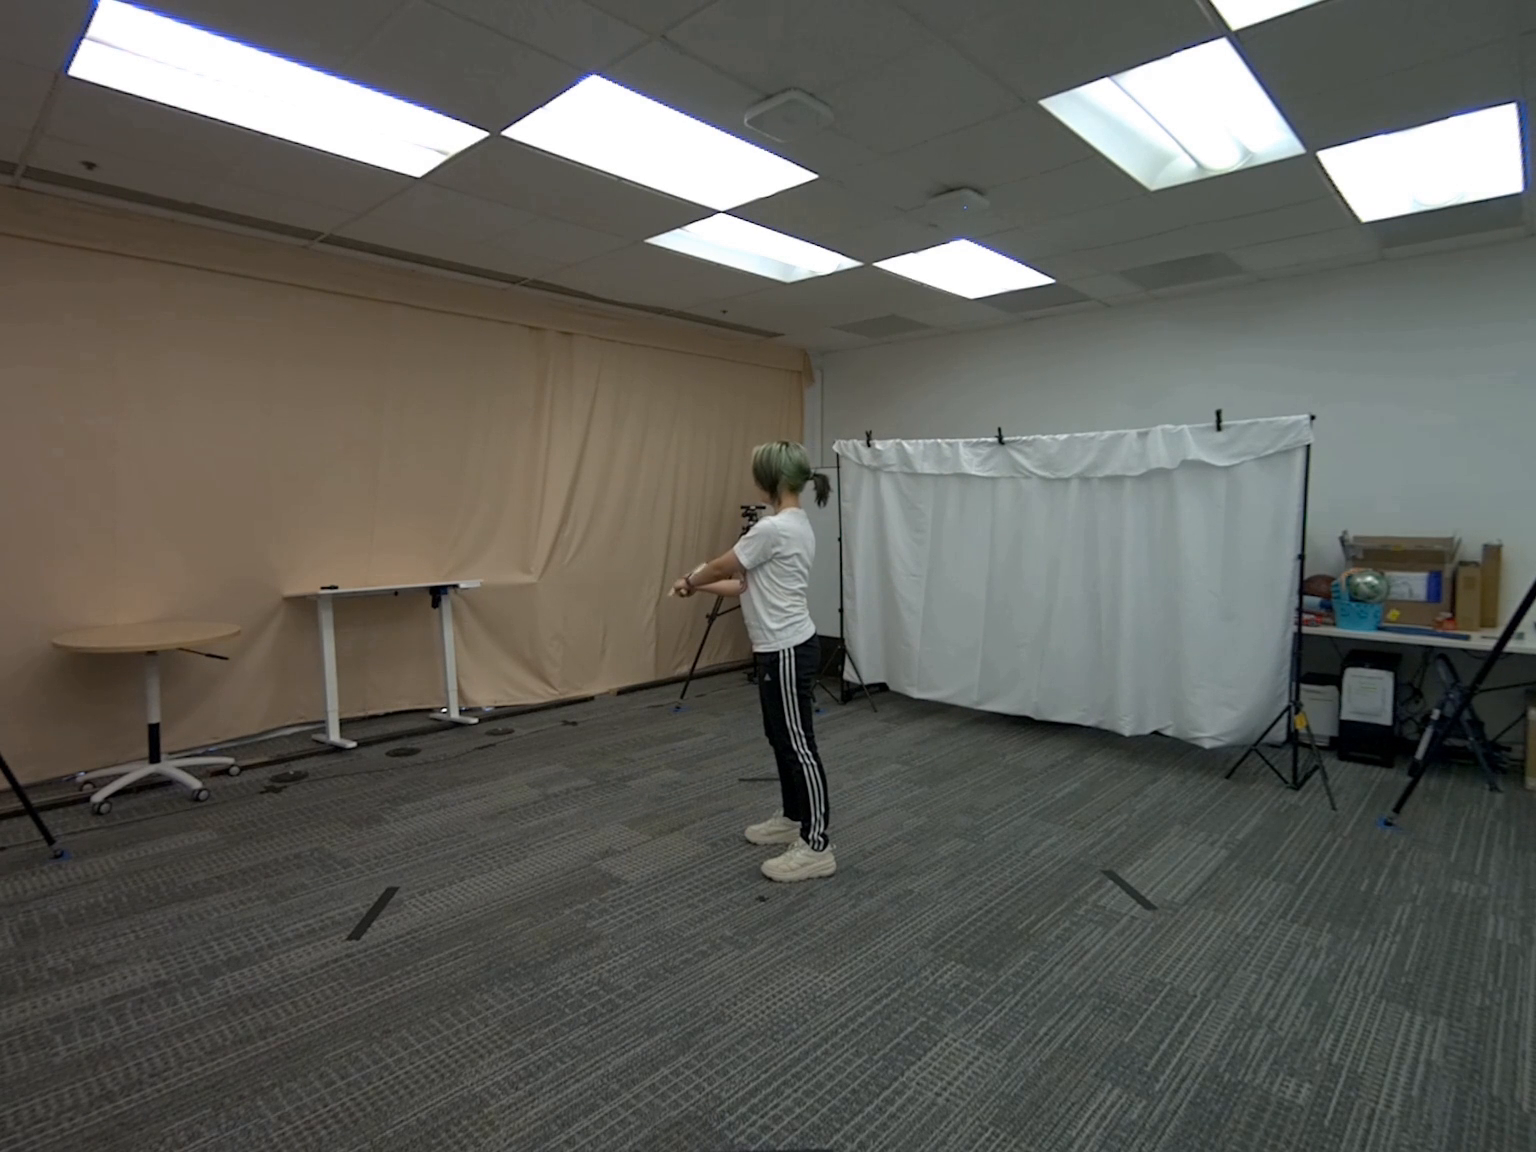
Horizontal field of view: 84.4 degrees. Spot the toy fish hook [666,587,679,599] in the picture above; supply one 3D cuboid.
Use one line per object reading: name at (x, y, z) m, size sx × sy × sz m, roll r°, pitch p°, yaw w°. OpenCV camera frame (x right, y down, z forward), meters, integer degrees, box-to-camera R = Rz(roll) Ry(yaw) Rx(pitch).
toy fish hook at (-0.385, 0.054, 3.706) m, size 0.225 × 0.048 × 0.508 m, roll -44°, pitch 7°, yaw 10°
